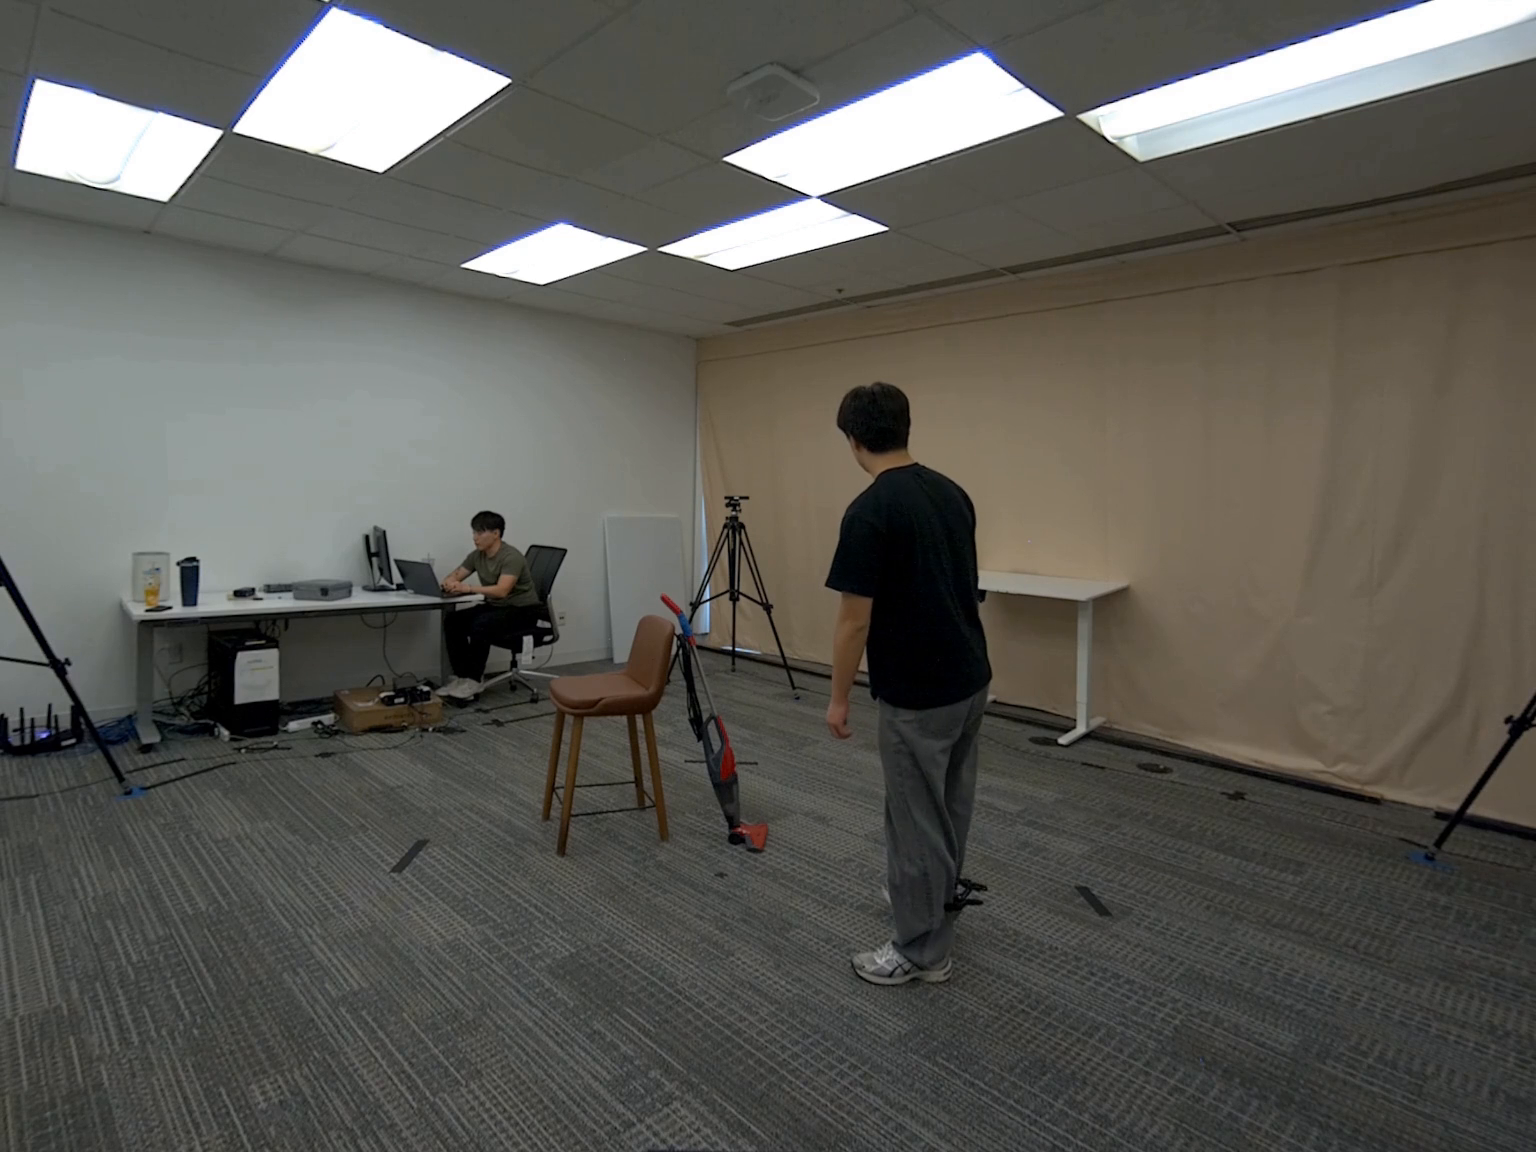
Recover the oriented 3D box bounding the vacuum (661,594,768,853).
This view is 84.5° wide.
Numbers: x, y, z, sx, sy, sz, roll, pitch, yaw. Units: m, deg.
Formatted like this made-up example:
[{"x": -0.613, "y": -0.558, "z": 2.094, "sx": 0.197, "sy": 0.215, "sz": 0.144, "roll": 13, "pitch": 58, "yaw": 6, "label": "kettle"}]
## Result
[{"x": -0.260, "y": 0.575, "z": 3.444, "sx": 0.144, "sy": 1.050, "sz": 0.252, "roll": -18, "pitch": -1, "yaw": 3, "label": "vacuum"}]
